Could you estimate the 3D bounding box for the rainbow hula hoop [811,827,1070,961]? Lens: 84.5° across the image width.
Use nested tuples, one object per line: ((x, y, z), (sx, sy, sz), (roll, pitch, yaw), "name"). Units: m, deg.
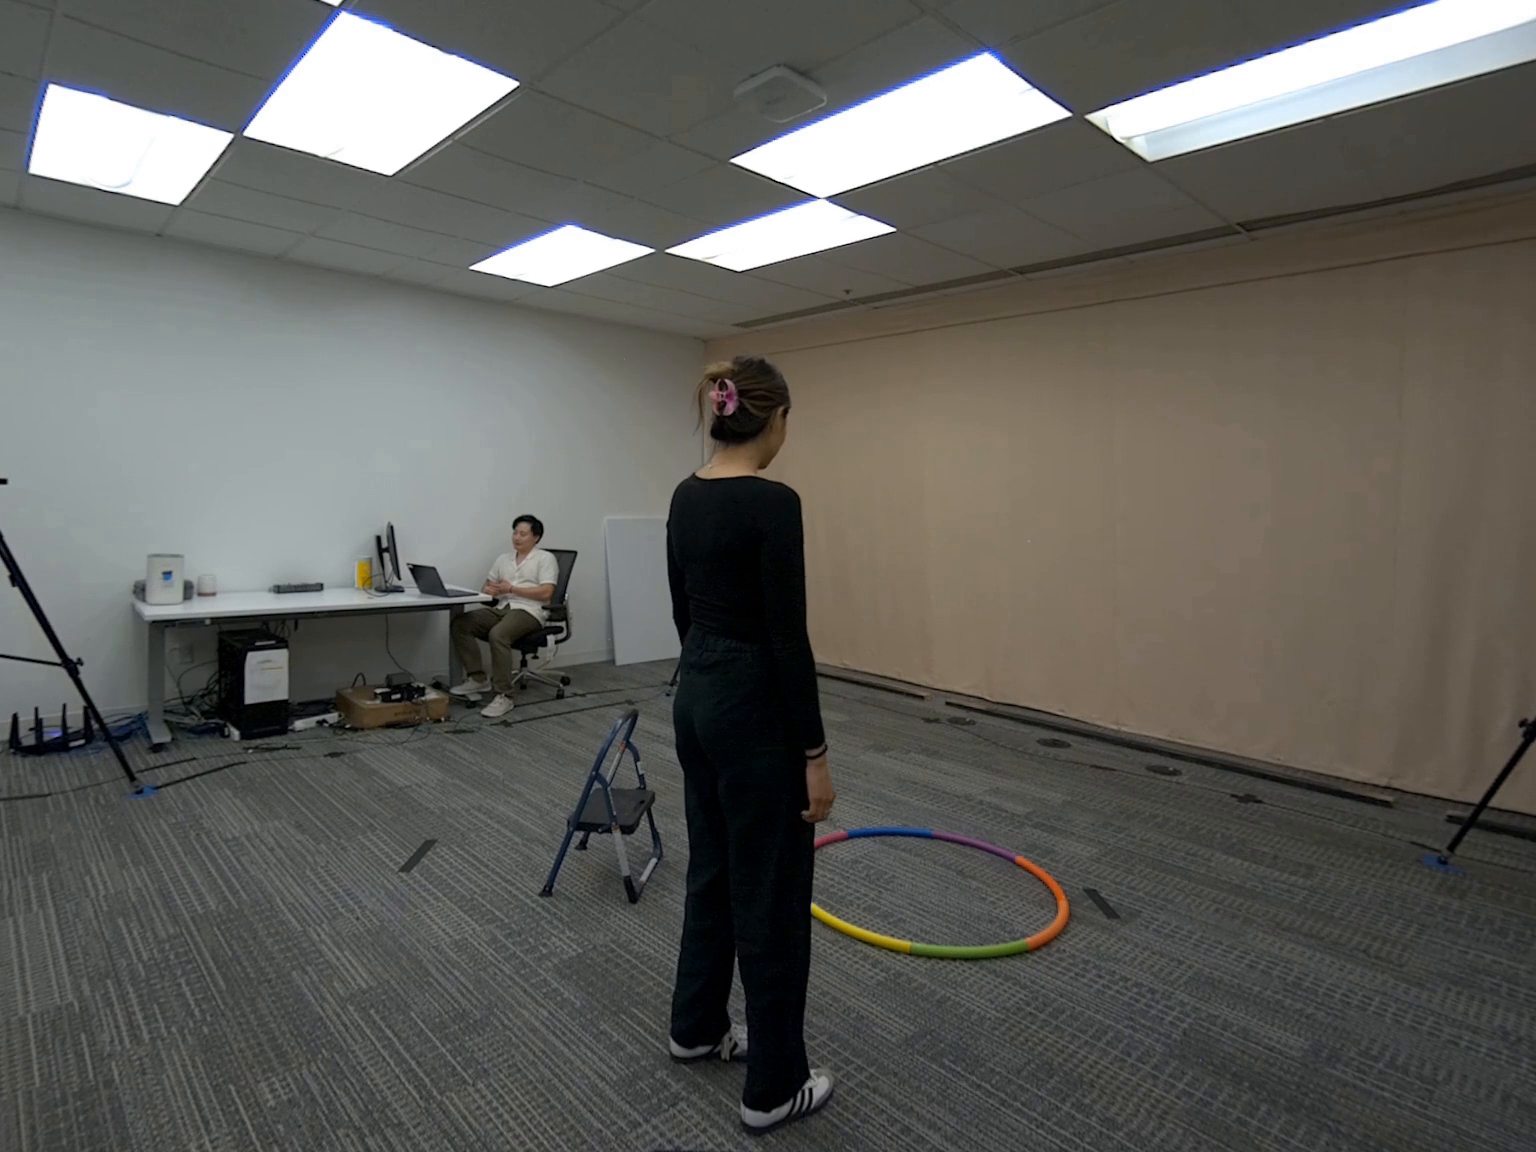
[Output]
((0.545, 1.094, 3.058), (0.978, 0.035, 0.982), (2, 5, -1), "rainbow hula hoop")
